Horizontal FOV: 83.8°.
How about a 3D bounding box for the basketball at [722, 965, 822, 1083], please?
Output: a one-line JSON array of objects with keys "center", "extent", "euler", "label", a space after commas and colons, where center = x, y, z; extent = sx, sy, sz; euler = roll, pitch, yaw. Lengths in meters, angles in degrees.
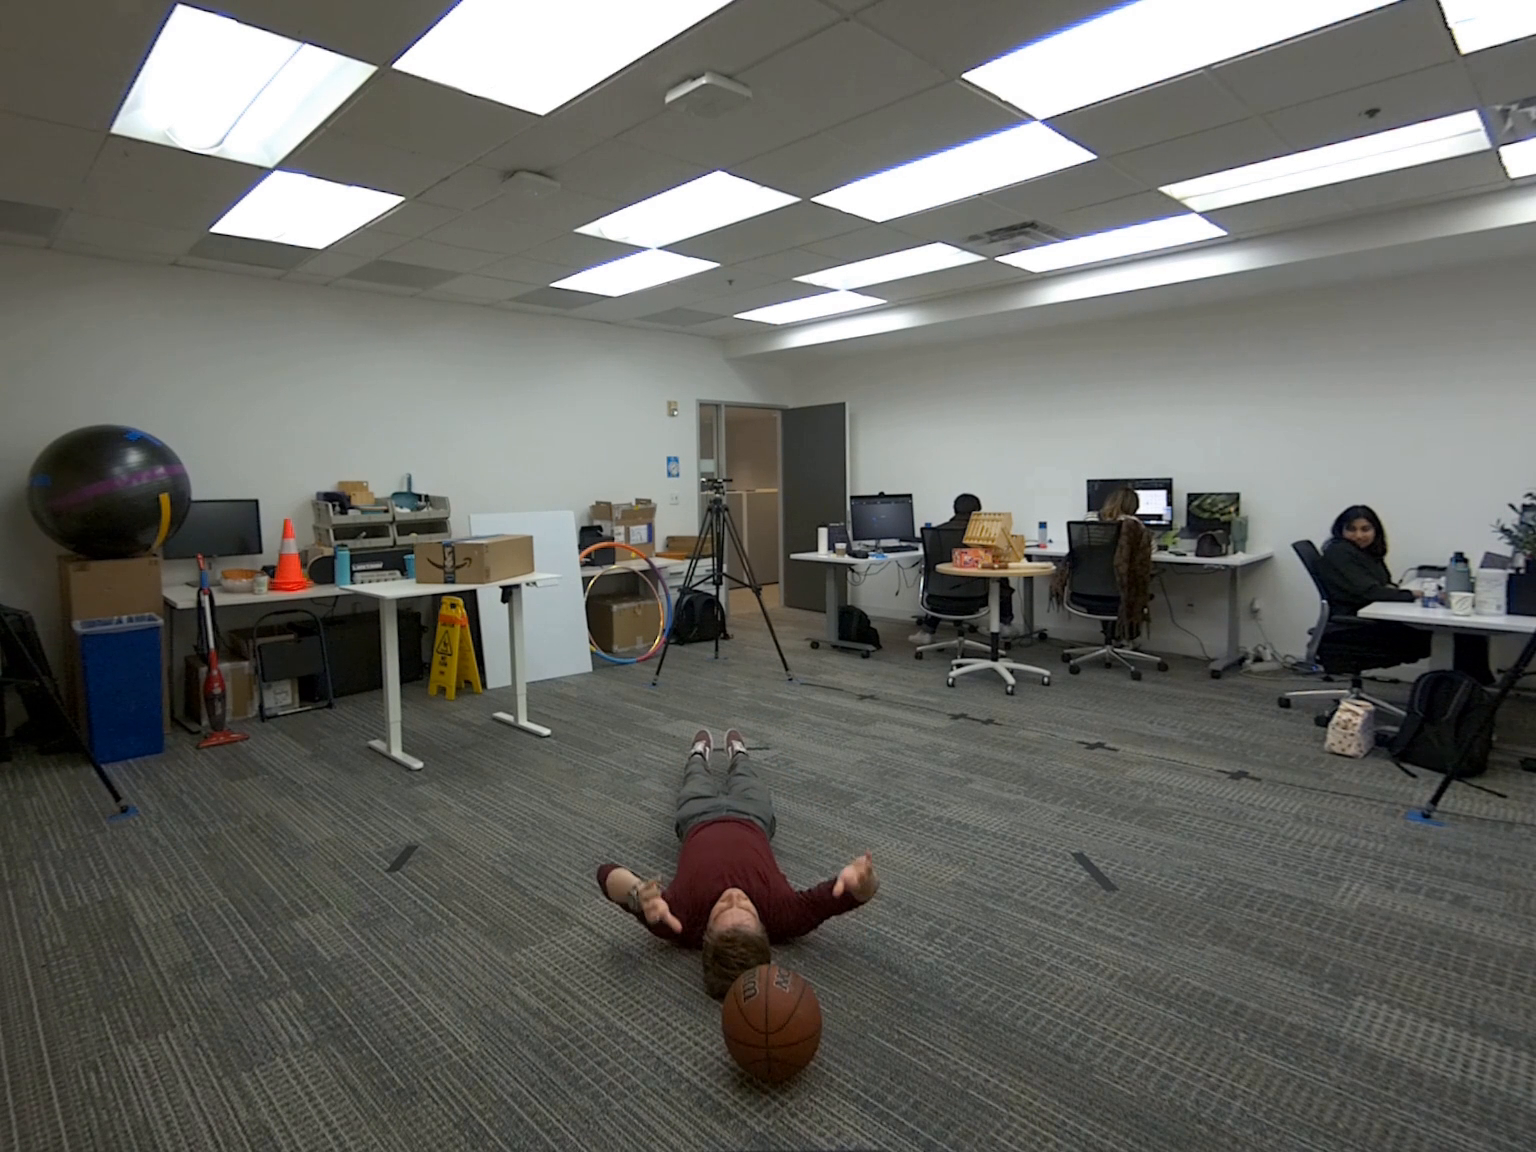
[{"center": [0.018, 1.049, 2.025], "extent": [0.236, 0.235, 0.237], "euler": [-1, 5, -2], "label": "basketball"}]
